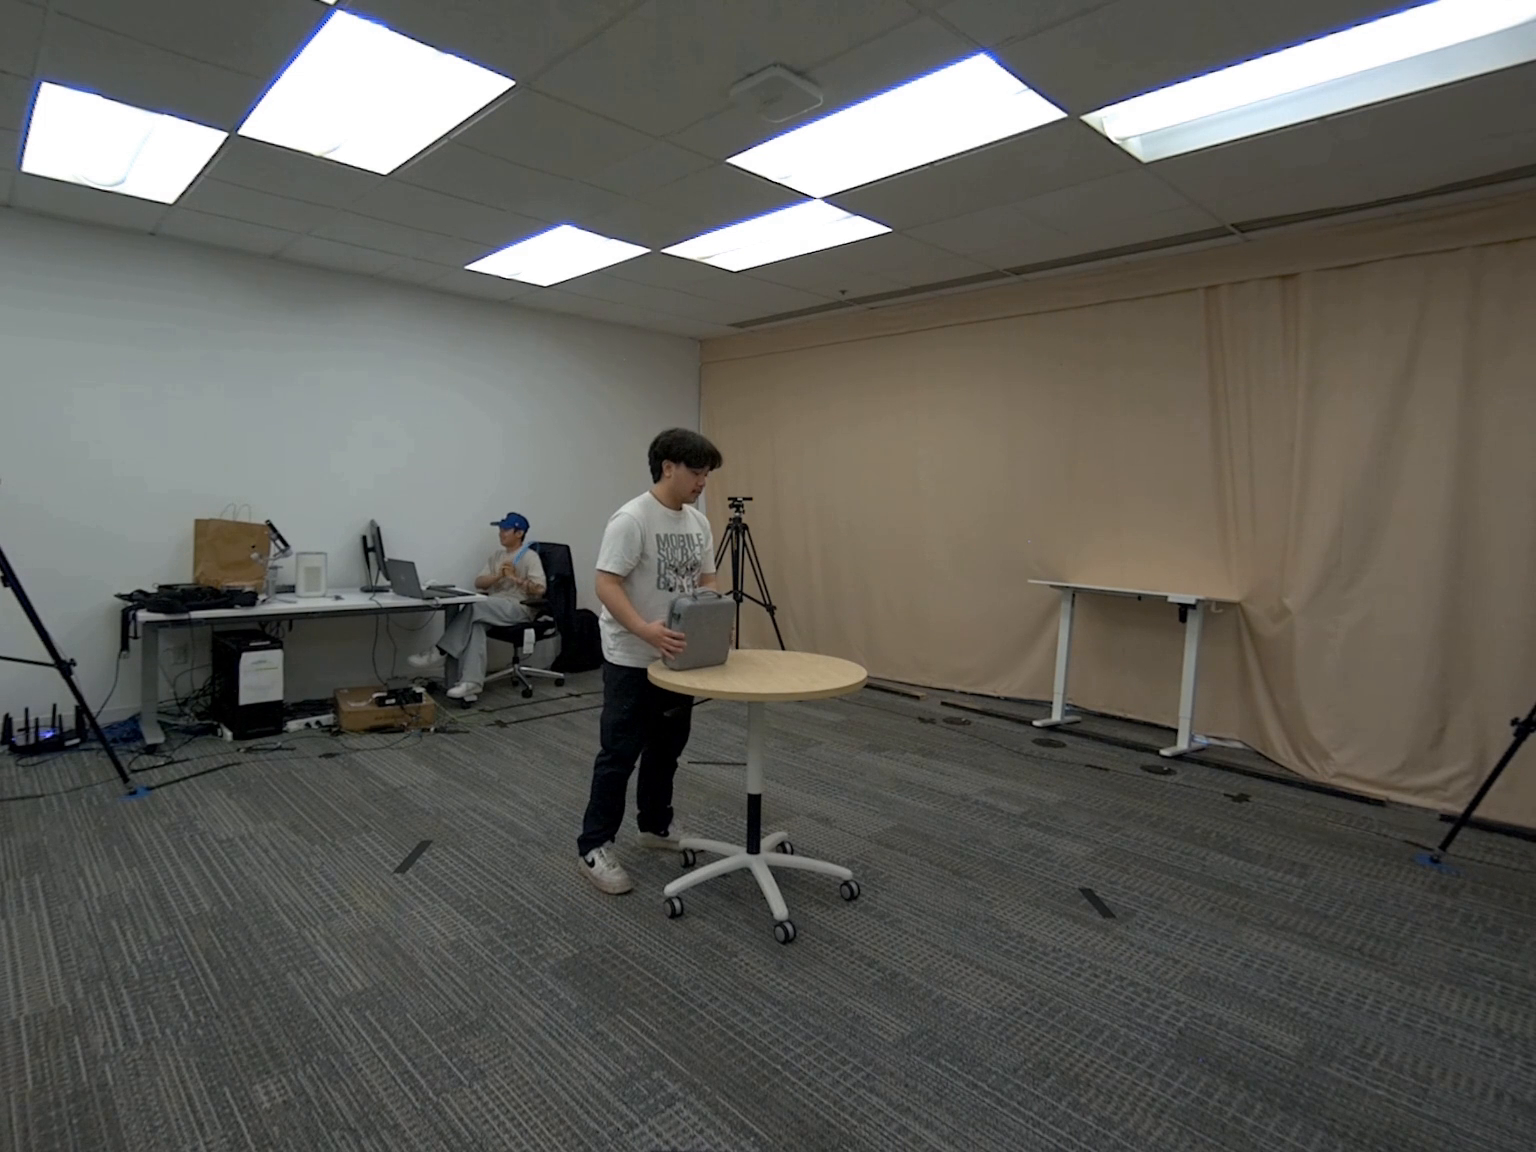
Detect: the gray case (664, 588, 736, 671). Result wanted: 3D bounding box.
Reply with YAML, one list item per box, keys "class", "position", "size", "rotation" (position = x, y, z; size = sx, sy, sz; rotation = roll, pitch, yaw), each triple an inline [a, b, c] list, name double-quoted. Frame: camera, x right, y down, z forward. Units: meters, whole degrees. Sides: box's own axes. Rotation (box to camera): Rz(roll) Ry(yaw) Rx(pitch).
- class: "gray case"
  position: [-0.244, 0.188, 2.956]
  size: [0.251, 0.259, 0.107]
  rotation: [-2, 16, -42]
